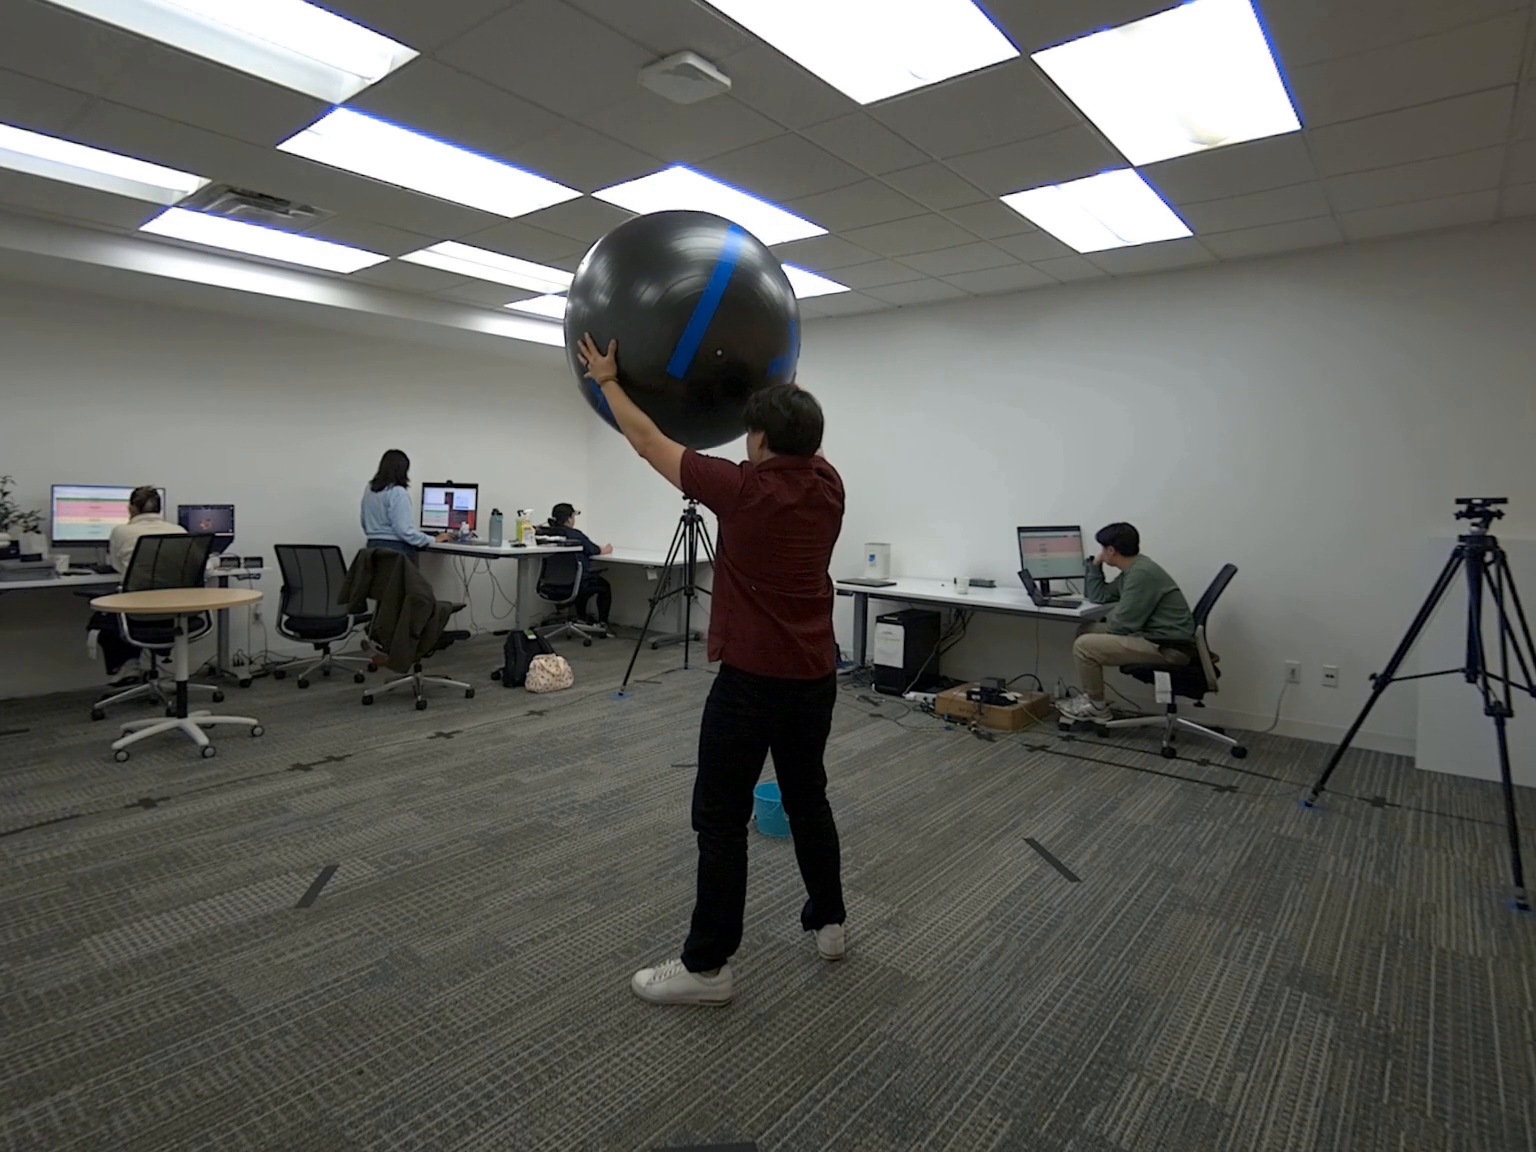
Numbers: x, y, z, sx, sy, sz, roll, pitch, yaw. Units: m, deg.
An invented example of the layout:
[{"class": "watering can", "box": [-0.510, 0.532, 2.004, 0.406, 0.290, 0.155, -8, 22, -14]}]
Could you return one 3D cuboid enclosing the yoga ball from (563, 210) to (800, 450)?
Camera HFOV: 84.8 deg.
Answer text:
[{"class": "yoga ball", "box": [-0.284, -0.771, 2.745, 0.757, 0.756, 0.762, 1, 4, -2]}]
